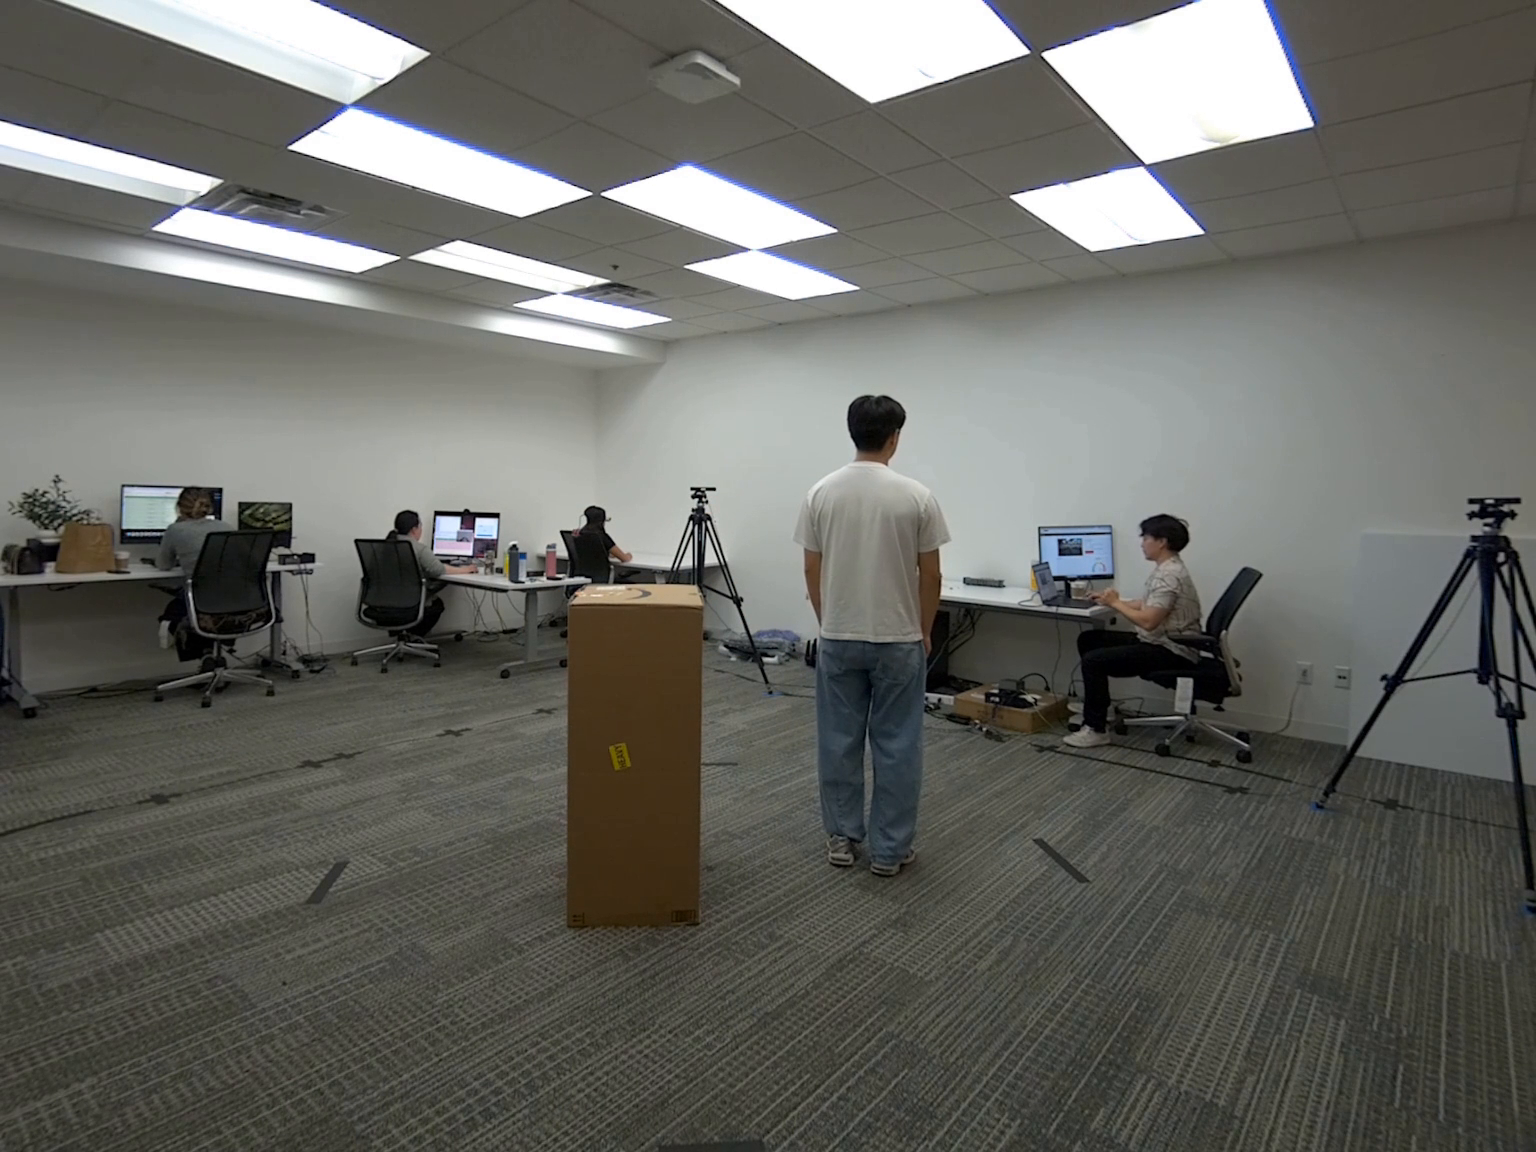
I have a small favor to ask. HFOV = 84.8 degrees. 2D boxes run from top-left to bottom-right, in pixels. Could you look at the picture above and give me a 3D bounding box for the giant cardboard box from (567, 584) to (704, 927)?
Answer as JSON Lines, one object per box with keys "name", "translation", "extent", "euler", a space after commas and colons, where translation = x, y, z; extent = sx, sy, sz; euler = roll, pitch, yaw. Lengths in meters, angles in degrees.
{"name": "giant cardboard box", "translation": [-0.470, 0.574, 2.938], "extent": [0.423, 1.023, 0.583], "euler": [0, 3, -7]}
